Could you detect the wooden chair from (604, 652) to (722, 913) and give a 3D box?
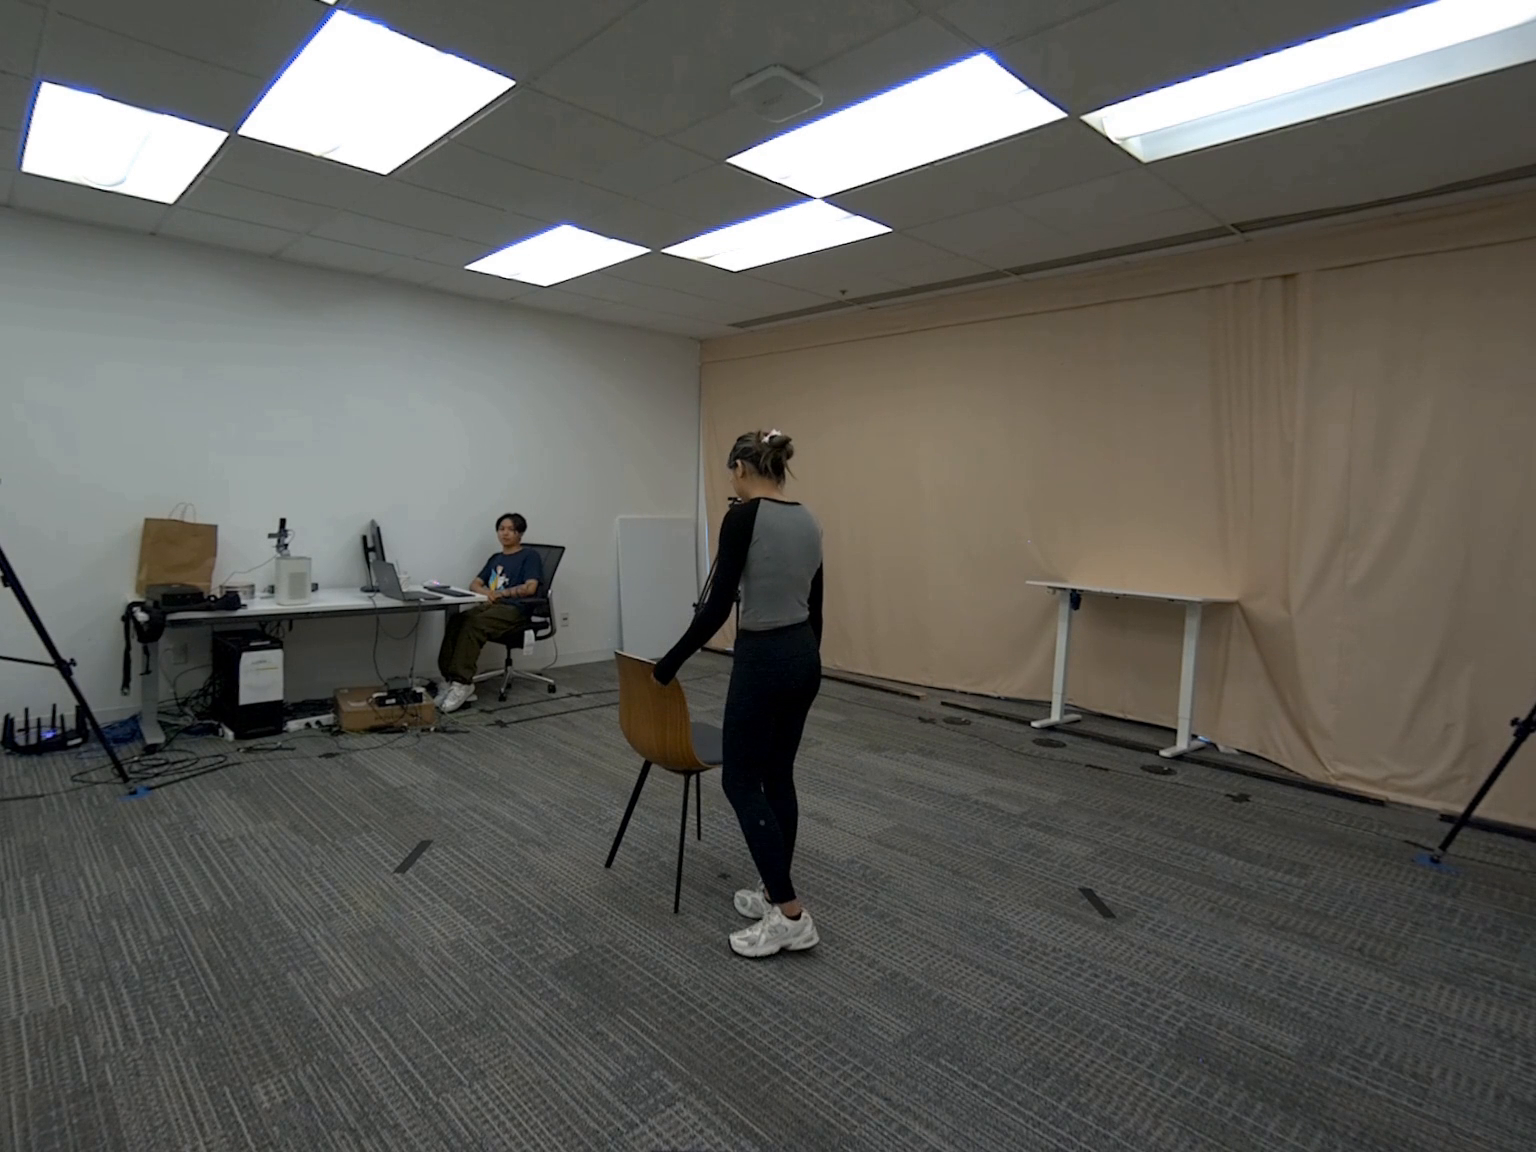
[{"bbox_3d":[-0.282,0.673,3.106,0.512,0.873,0.490,-7,8,-41],"label":"wooden chair"}]
